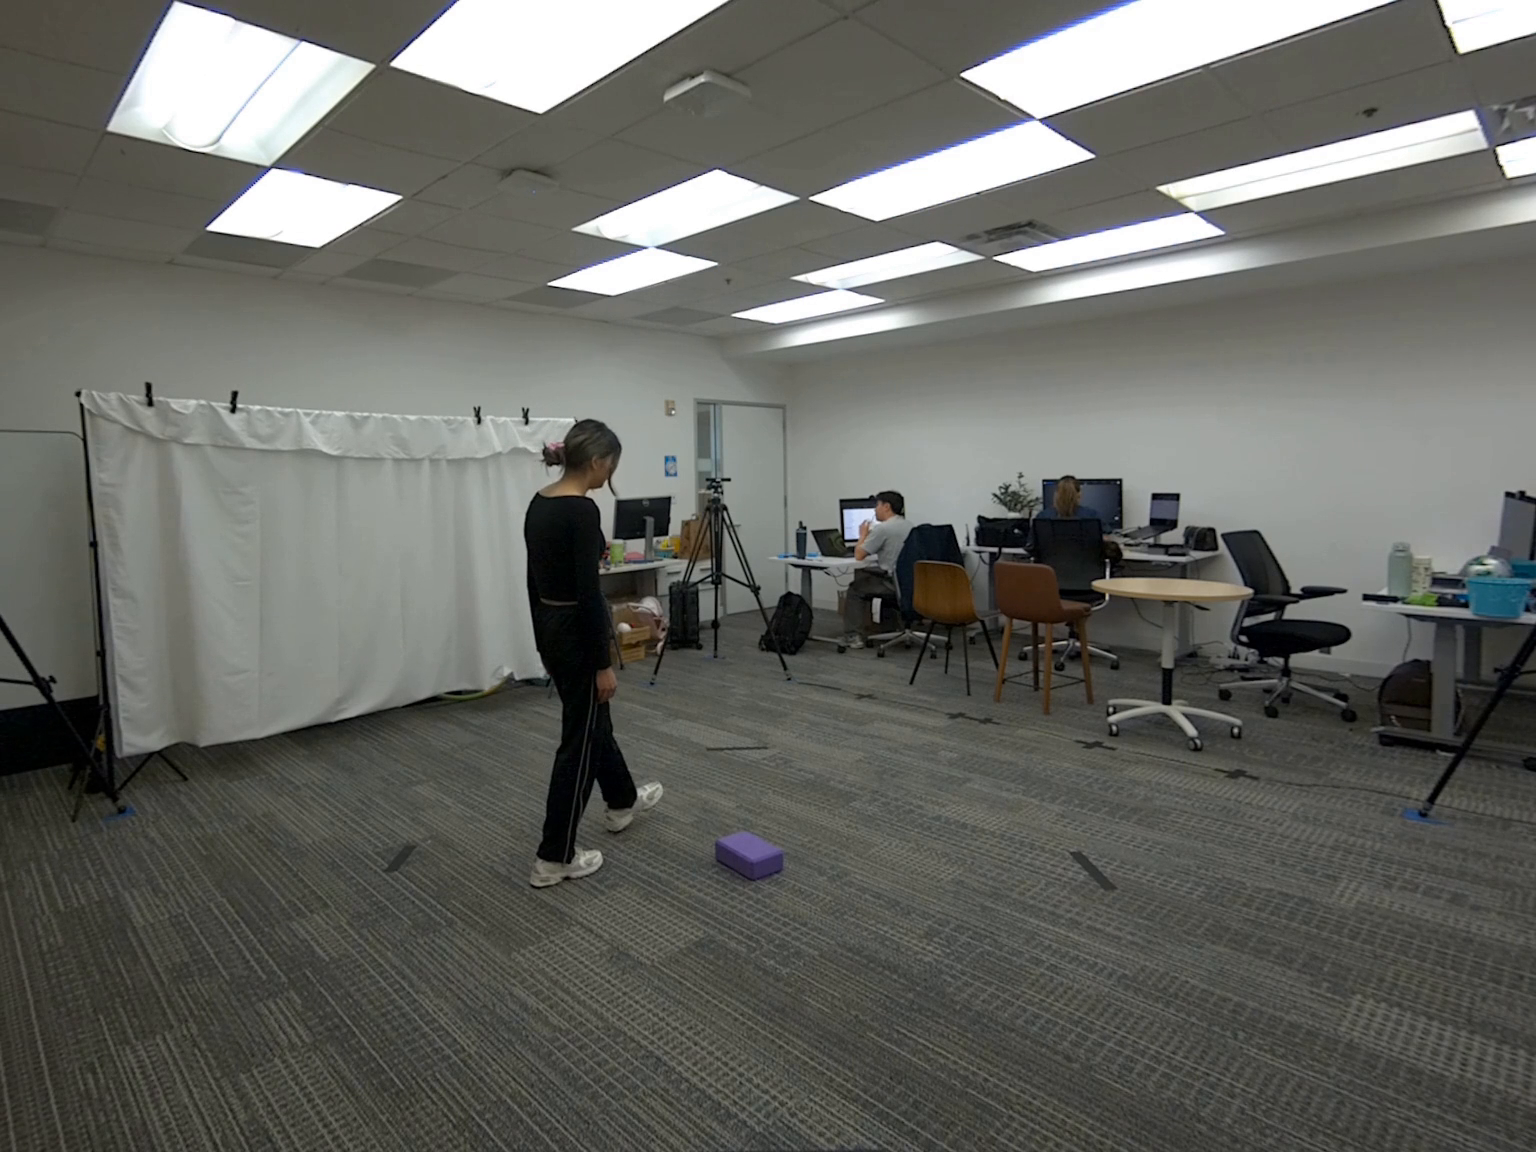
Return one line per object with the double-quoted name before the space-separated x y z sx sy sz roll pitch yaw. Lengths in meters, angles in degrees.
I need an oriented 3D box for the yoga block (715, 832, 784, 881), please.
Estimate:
"yoga block" -0.067 1.002 3.085 0.145 0.076 0.236 -3 6 -37
